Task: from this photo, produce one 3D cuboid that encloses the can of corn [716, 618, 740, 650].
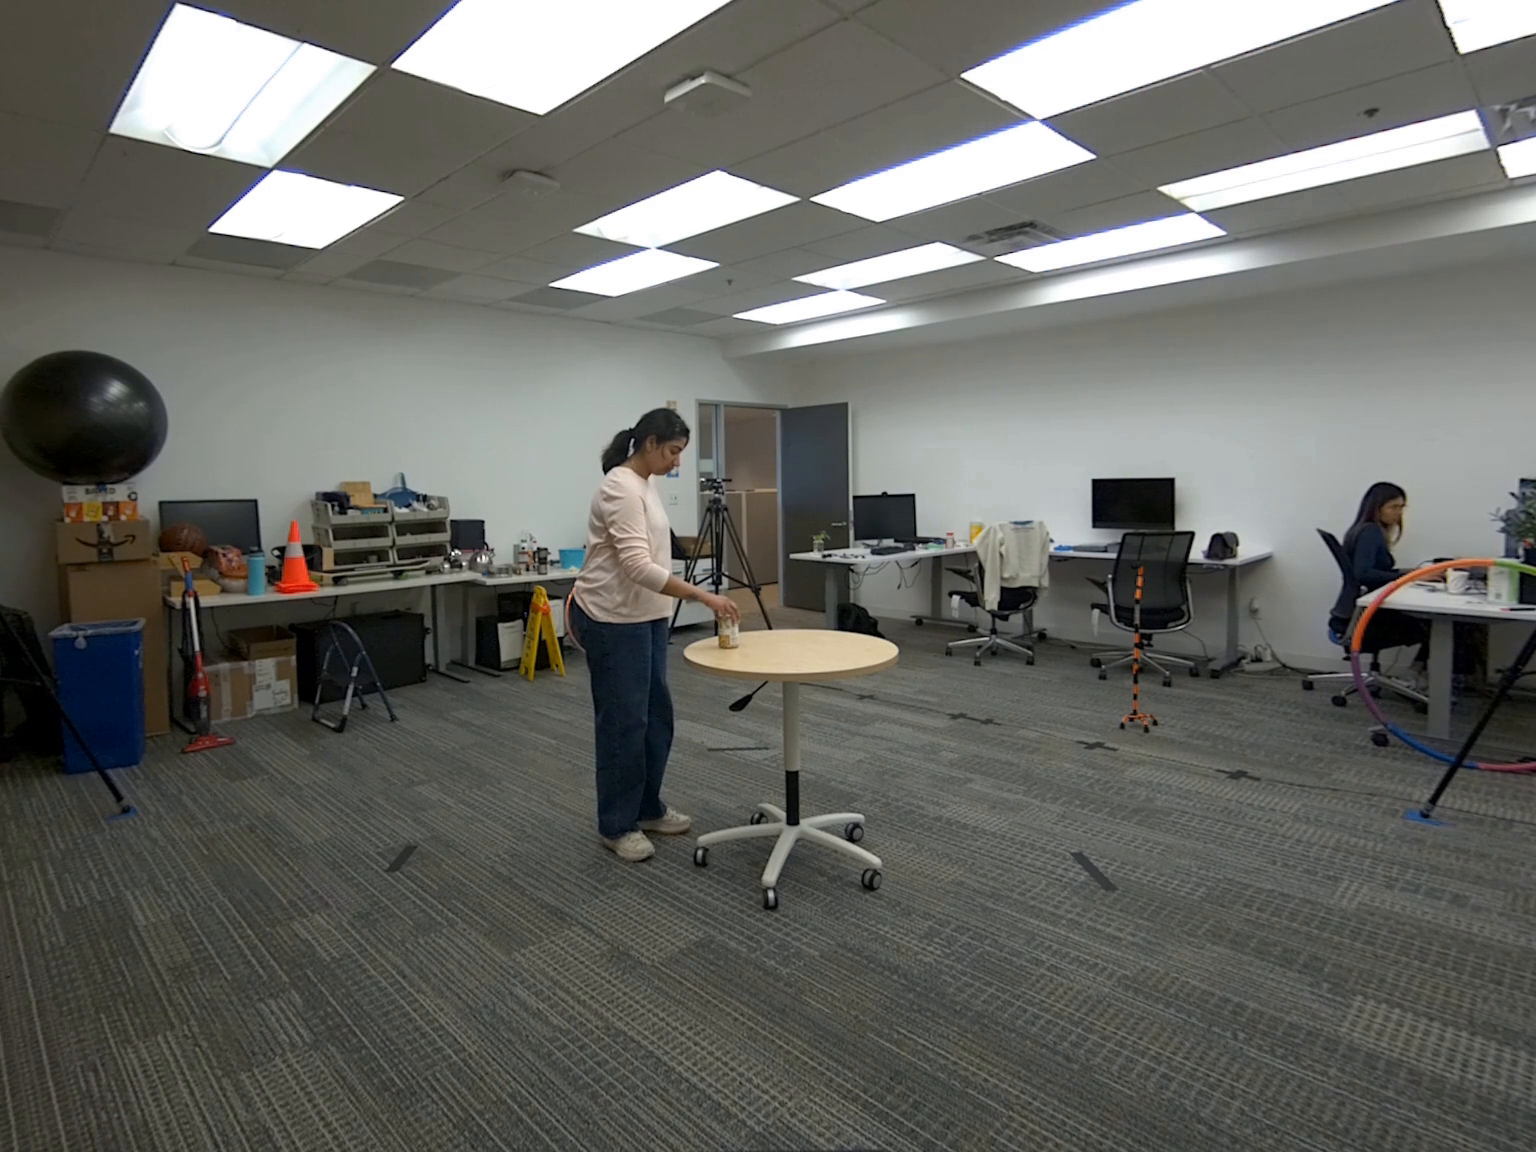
[{"bbox_3d":[-0.144,0.203,3.126,0.074,0.110,0.074,-4,5,-1],"label":"can of corn"}]
